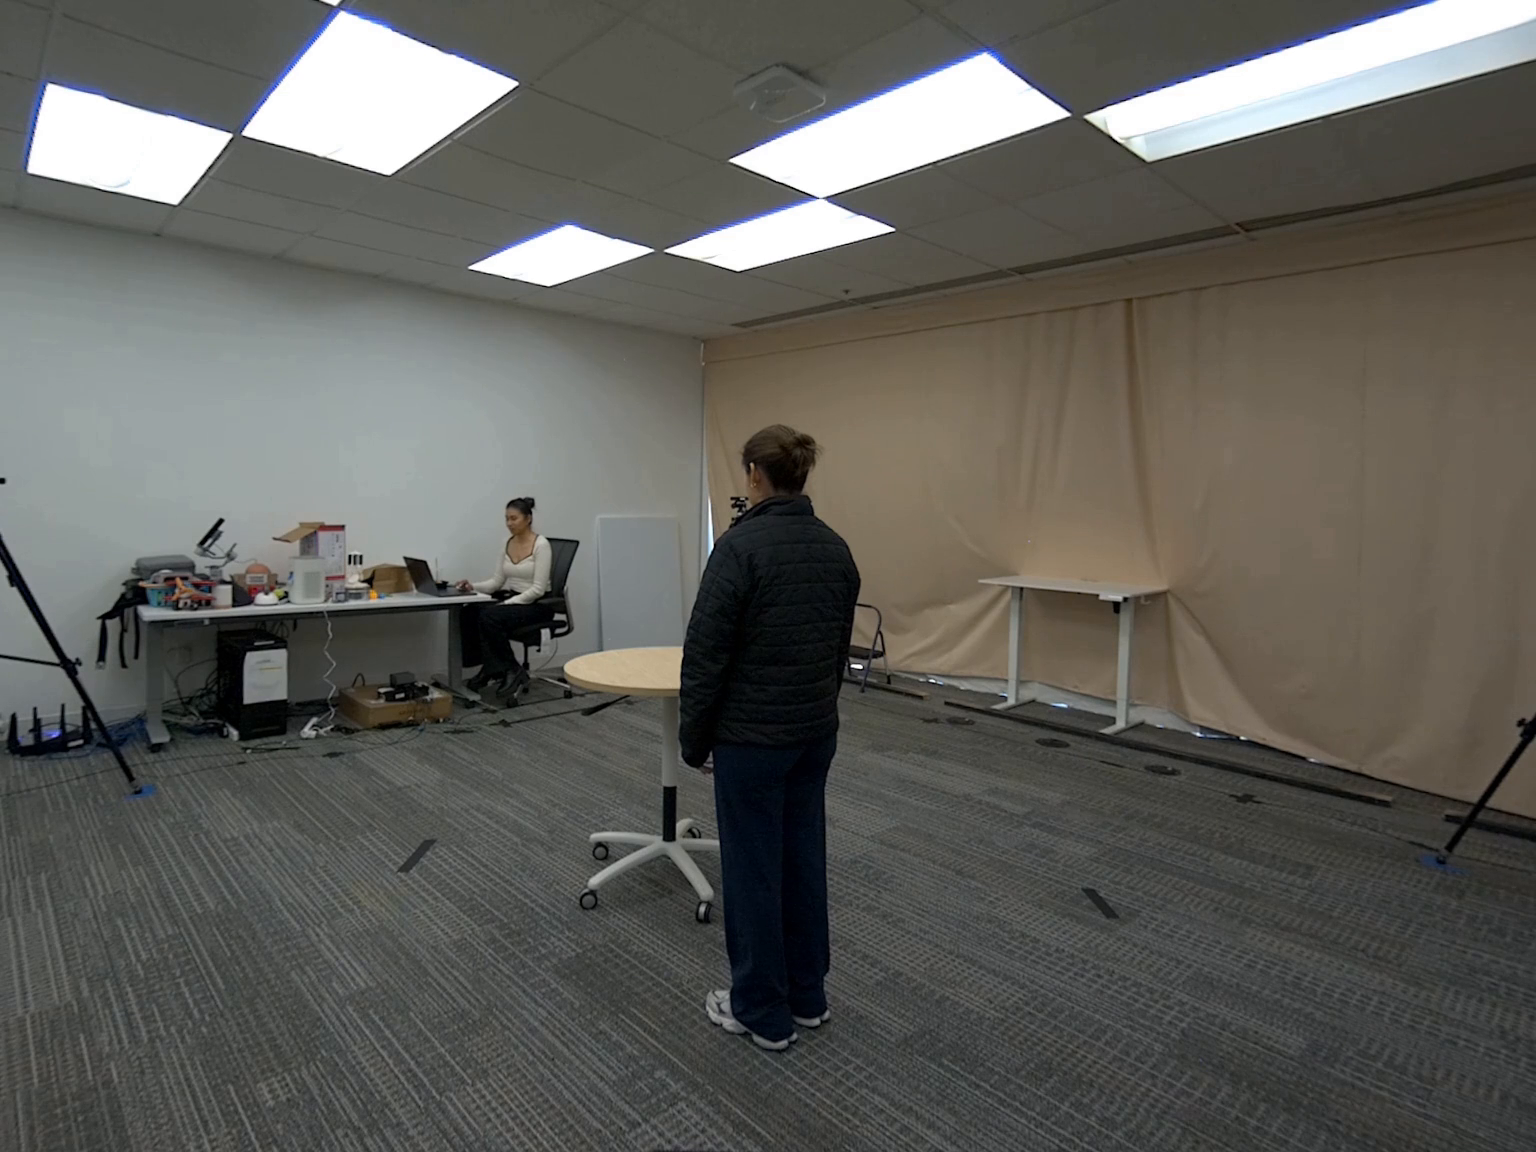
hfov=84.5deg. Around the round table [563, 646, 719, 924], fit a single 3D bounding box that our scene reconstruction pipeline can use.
[{"bbox_3d":[-0.357,0.718,3.030,0.784,0.784,0.787,1,4,-1],"label":"round table"}]
